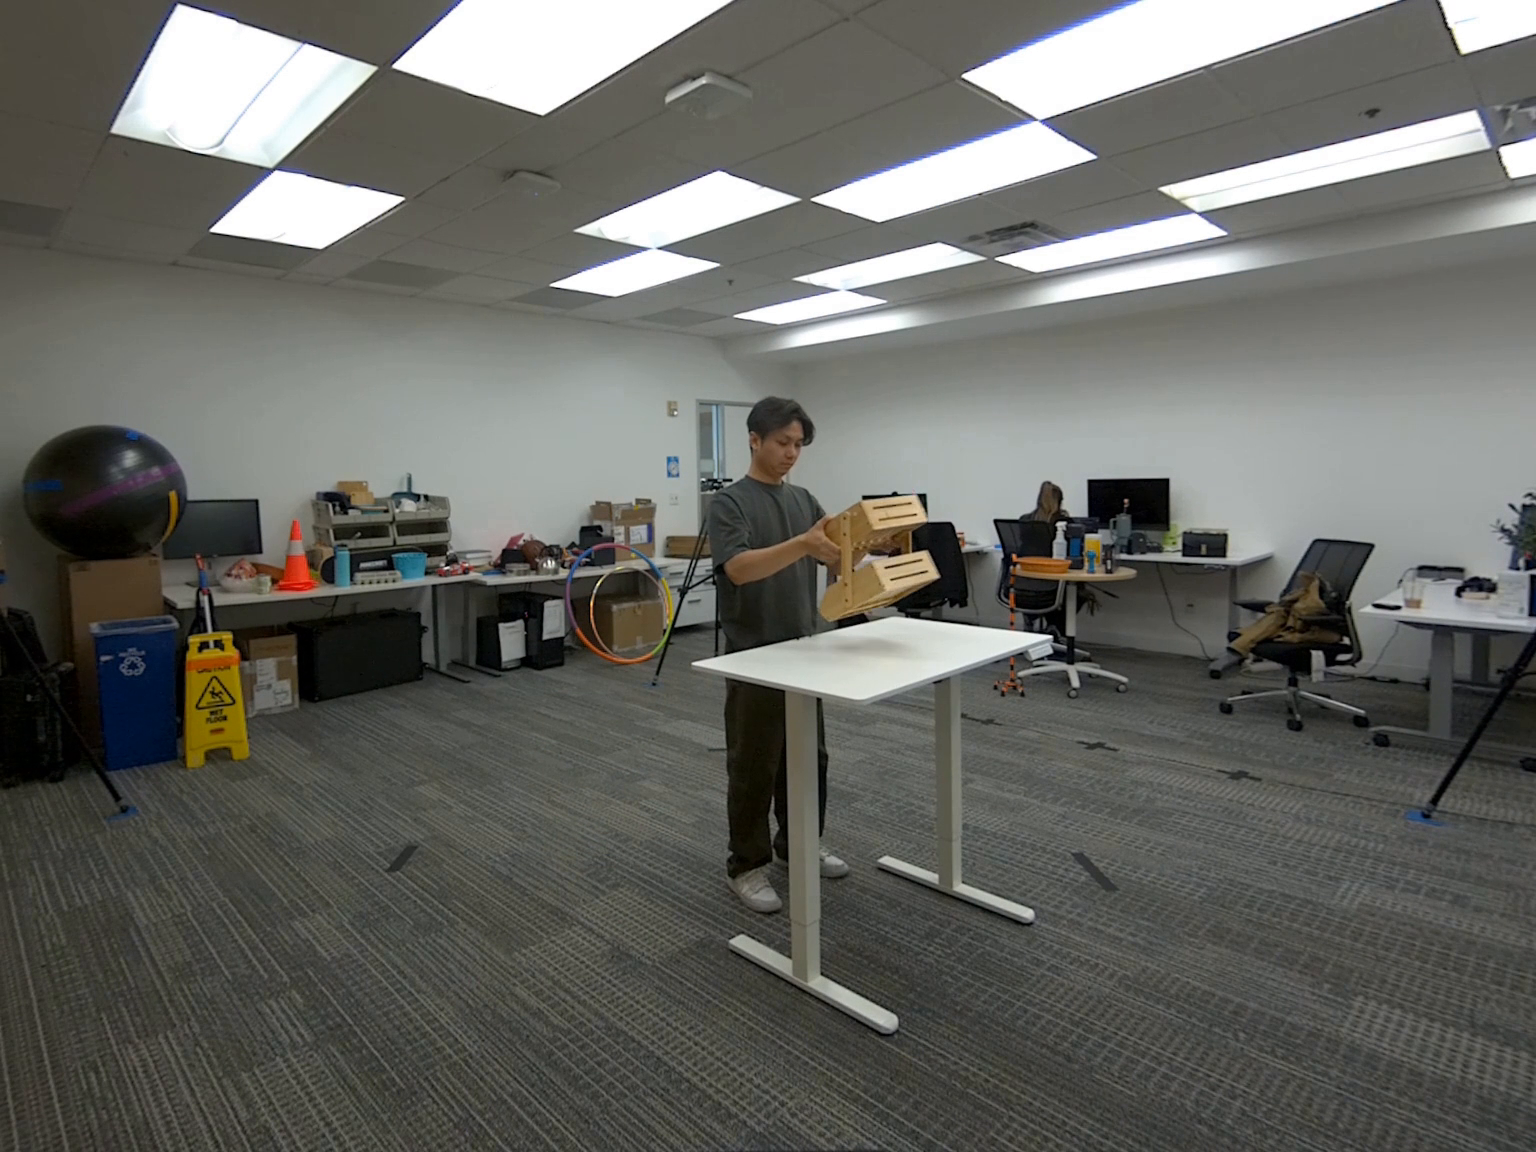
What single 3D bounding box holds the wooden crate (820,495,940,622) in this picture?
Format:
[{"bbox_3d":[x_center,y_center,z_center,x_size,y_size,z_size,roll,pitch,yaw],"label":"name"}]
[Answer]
[{"bbox_3d":[0.312,-0.057,2.597,0.316,0.278,0.304,-10,-18,-47],"label":"wooden crate"}]
